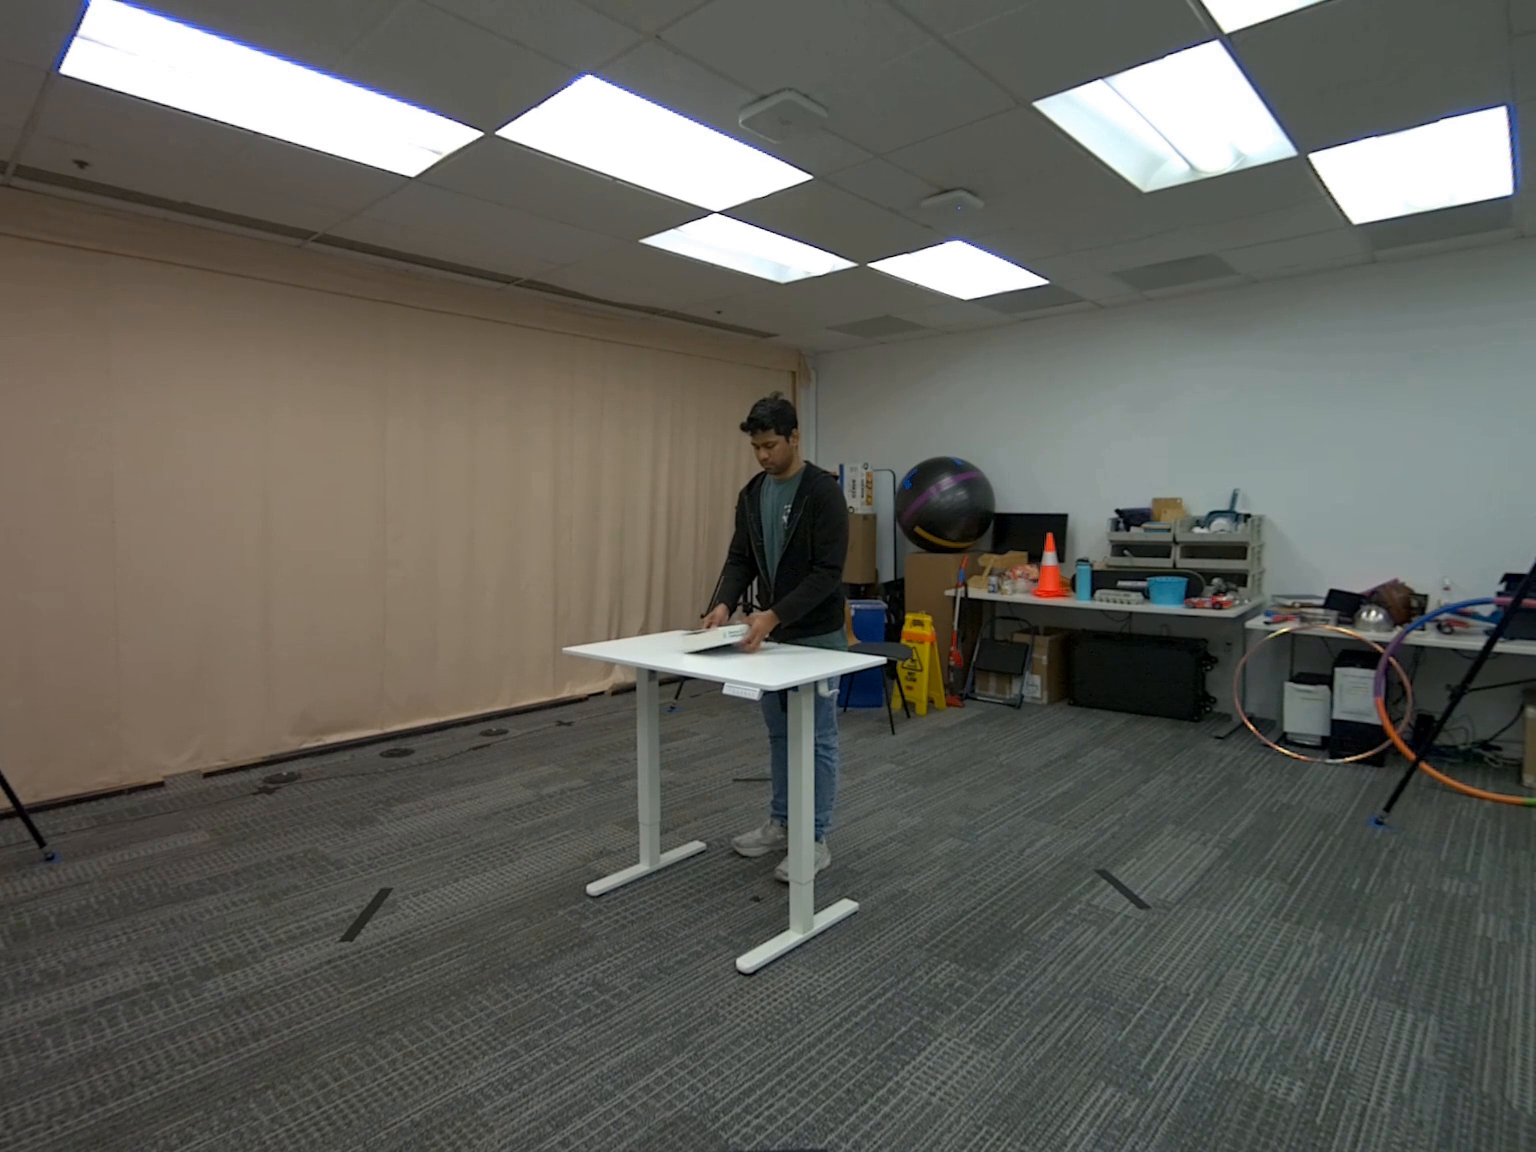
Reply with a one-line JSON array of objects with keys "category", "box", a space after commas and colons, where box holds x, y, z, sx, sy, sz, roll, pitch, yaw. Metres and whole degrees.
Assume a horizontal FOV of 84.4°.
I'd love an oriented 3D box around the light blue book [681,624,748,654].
[{"category": "light blue book", "box": [-0.173, 0.214, 2.977, 0.196, 0.059, 0.254, -10, -4, 28]}]
